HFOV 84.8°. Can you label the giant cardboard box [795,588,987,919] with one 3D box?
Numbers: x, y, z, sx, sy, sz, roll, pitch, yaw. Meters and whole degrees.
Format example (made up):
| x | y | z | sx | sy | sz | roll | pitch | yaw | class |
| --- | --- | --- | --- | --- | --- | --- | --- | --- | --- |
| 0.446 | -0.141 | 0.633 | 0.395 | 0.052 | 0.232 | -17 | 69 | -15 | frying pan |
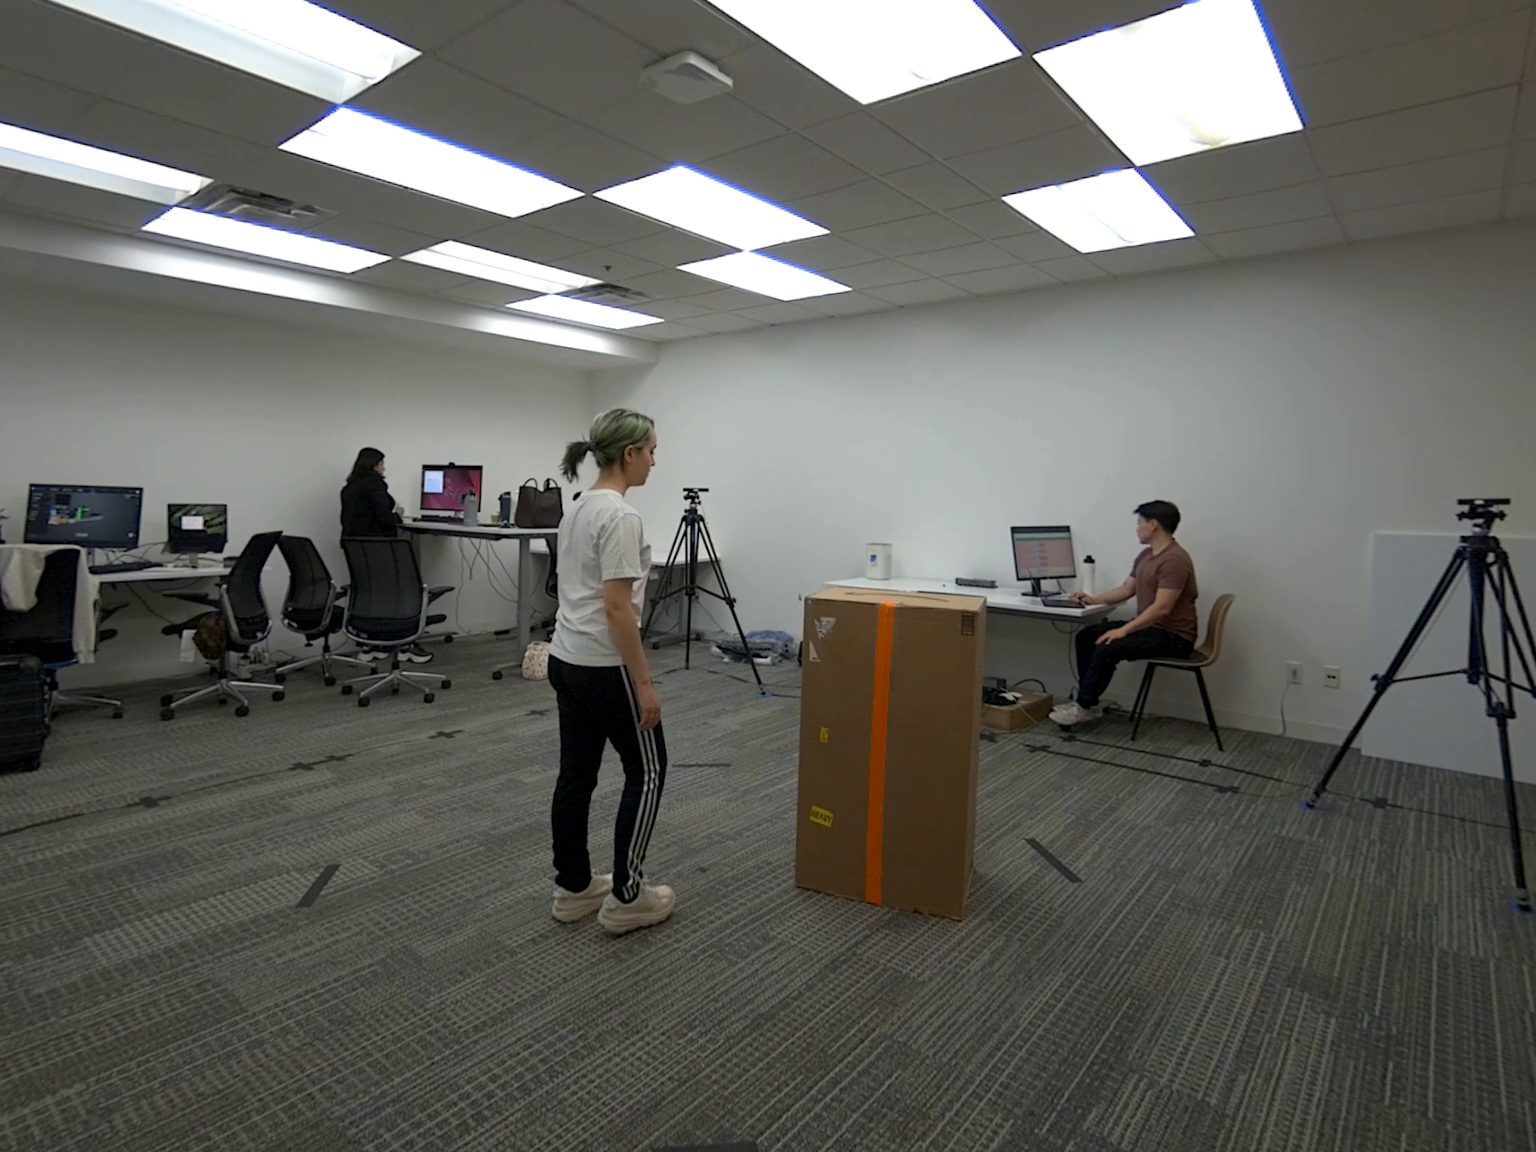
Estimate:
| x | y | z | sx | sy | sz | roll | pitch | yaw | class |
| --- | --- | --- | --- | --- | --- | --- | --- | --- | --- |
| 0.437 | 0.583 | 3.047 | 0.591 | 1.022 | 0.418 | 3 | 4 | 21 | giant cardboard box |
